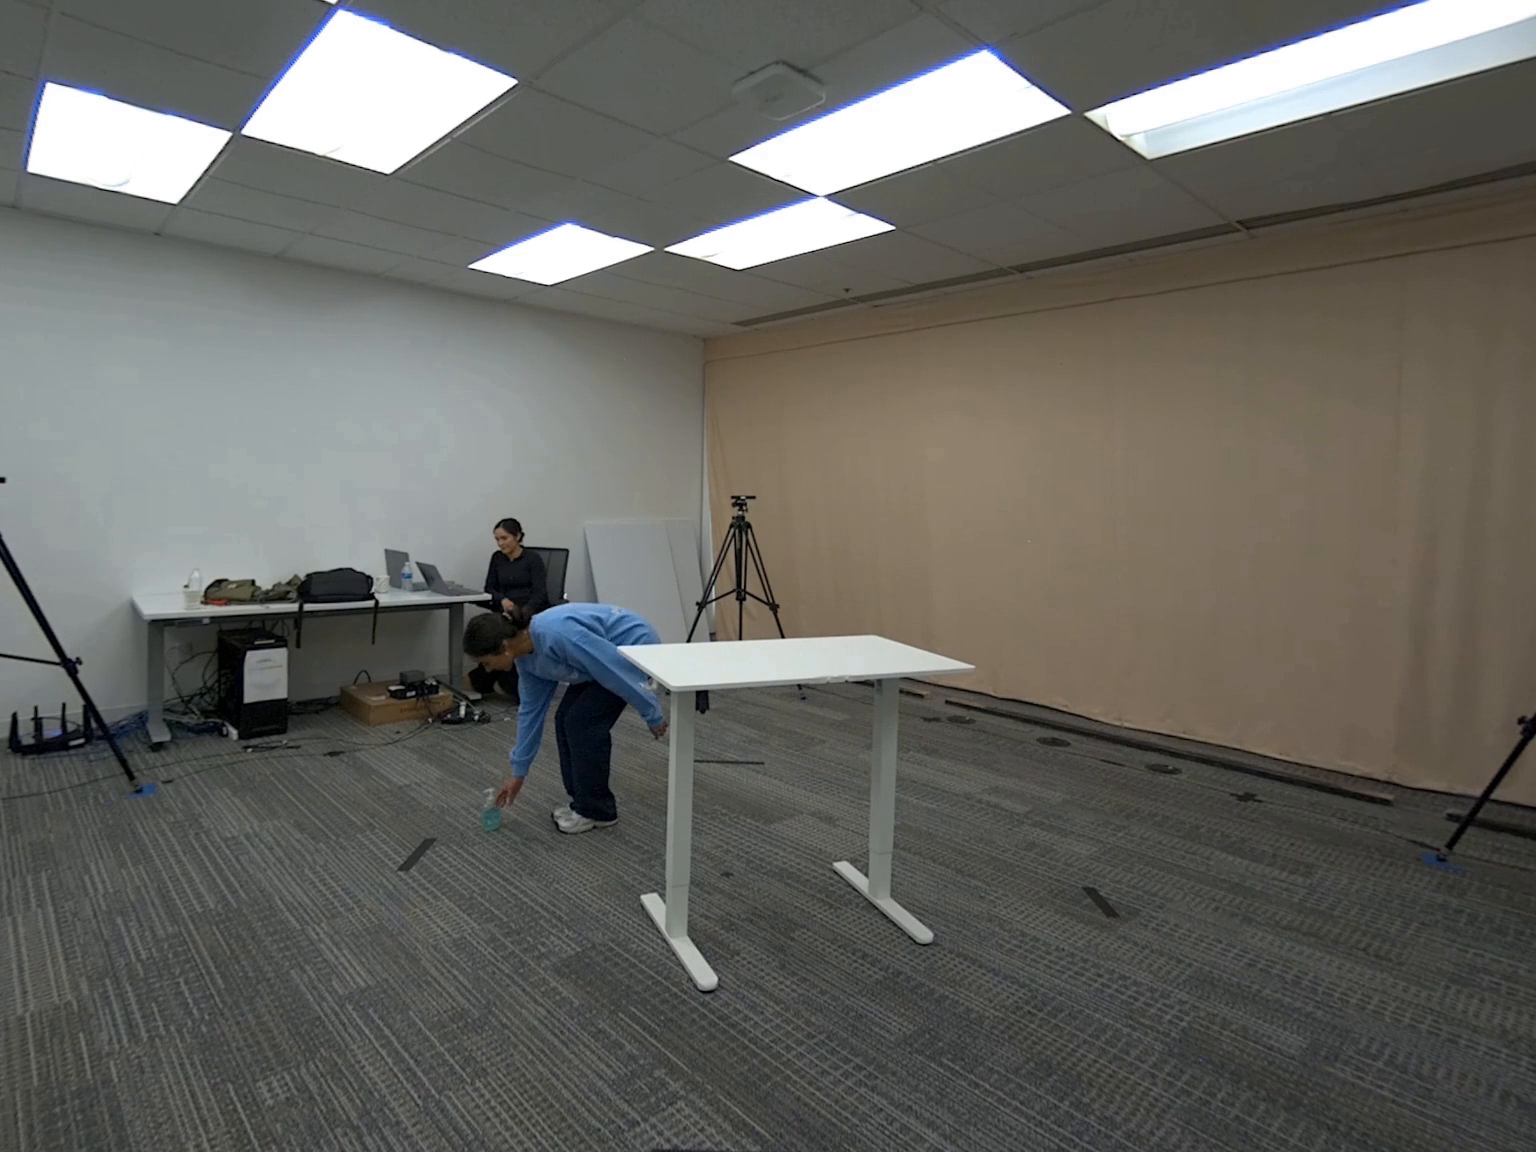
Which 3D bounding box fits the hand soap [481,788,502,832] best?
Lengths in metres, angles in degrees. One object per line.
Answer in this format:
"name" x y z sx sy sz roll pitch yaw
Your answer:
"hand soap" -1.144 0.961 3.475 0.083 0.168 0.044 -1 3 -37
